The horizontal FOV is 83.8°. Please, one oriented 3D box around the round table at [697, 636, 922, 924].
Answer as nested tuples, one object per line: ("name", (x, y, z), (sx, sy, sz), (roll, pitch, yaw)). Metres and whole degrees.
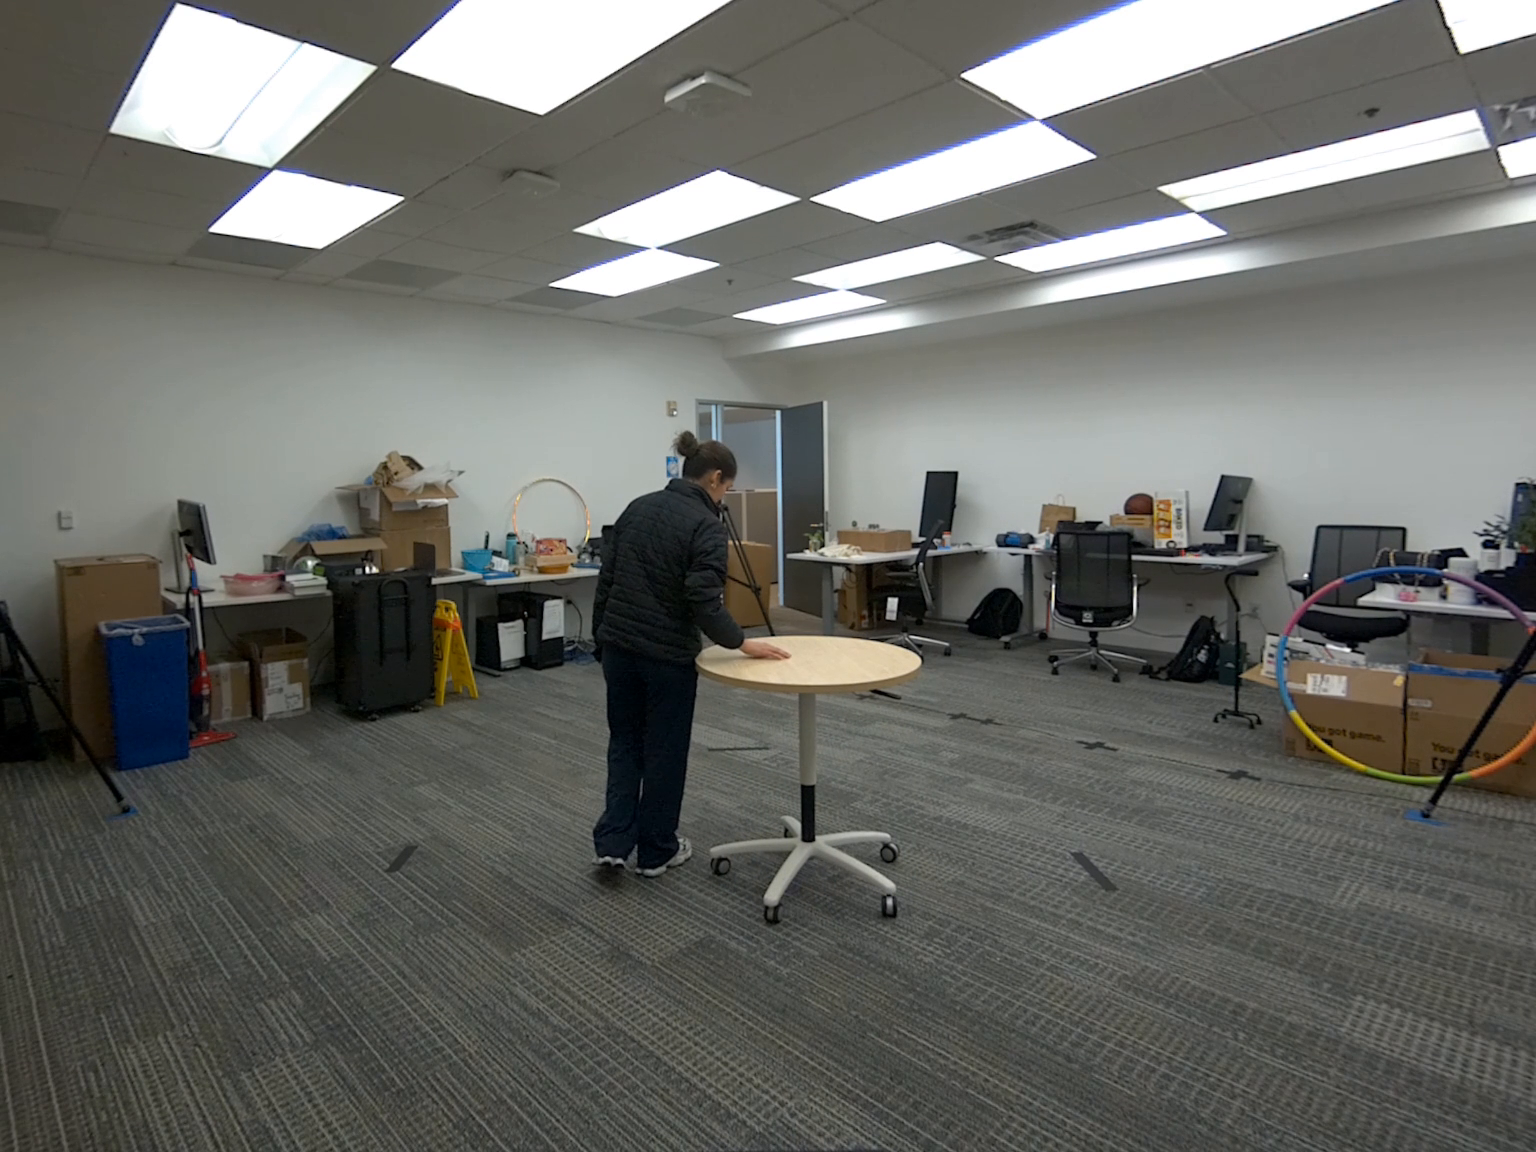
("round table", (0.130, 0.664, 2.945), (0.784, 0.783, 0.789), (-1, 5, -2))
